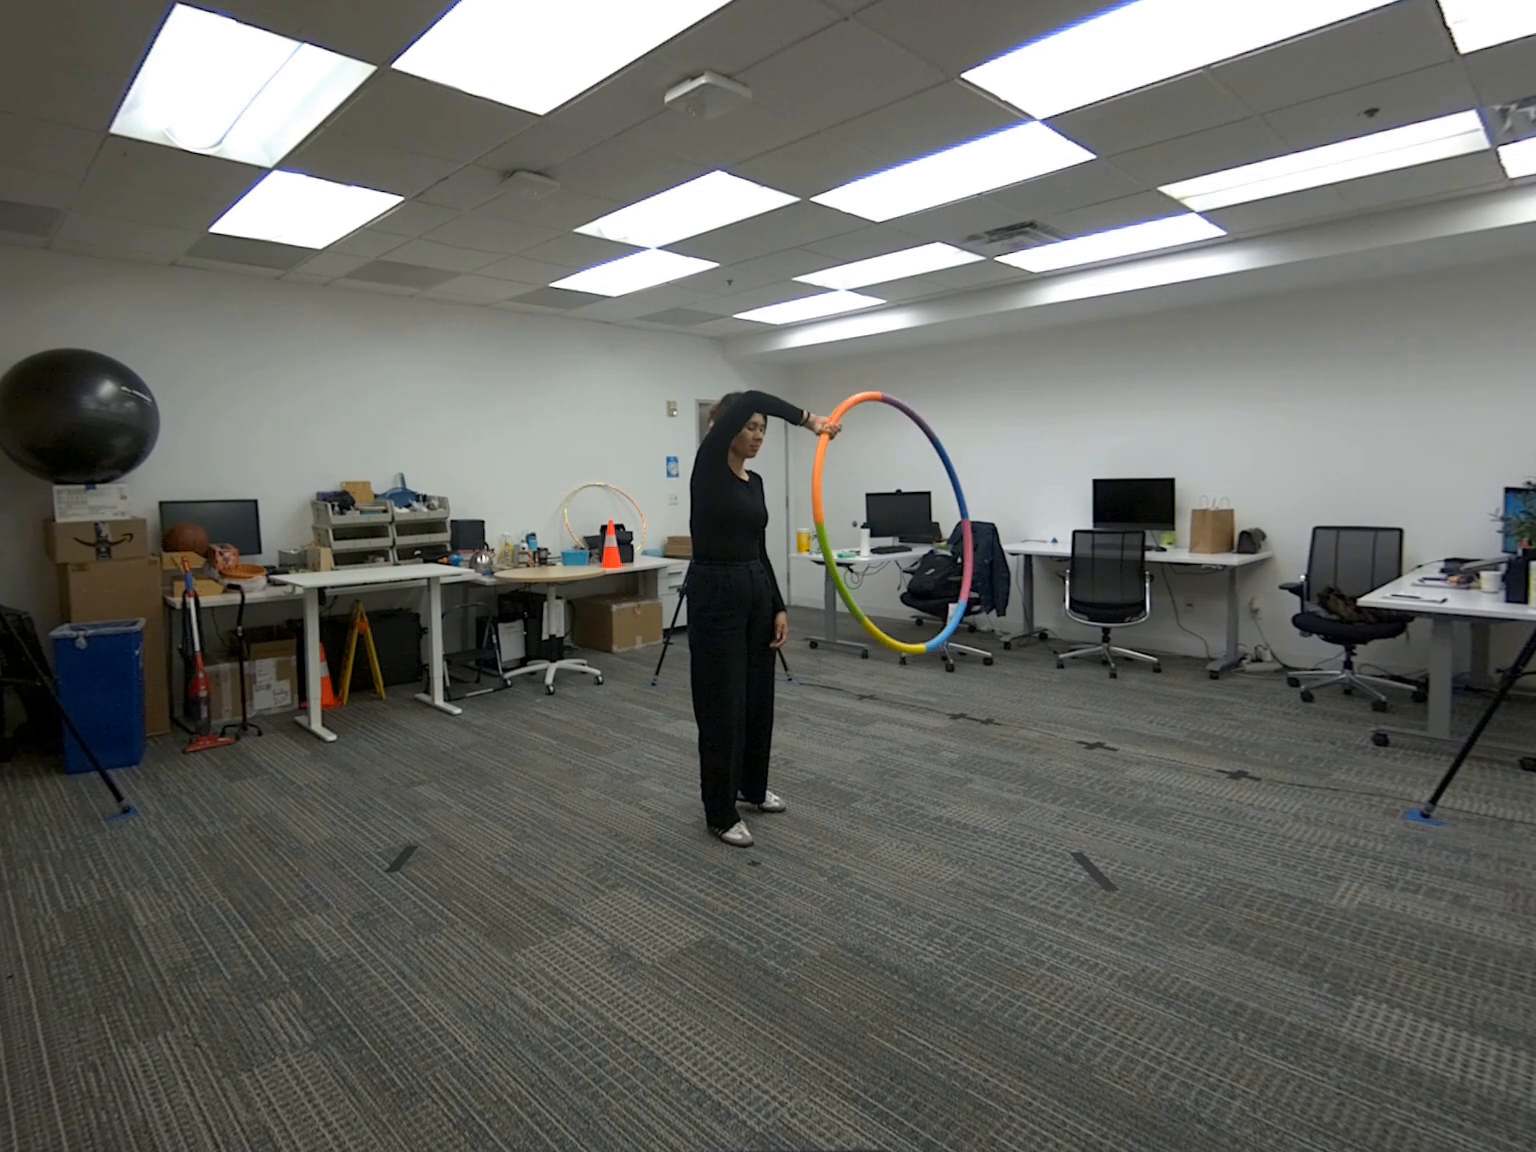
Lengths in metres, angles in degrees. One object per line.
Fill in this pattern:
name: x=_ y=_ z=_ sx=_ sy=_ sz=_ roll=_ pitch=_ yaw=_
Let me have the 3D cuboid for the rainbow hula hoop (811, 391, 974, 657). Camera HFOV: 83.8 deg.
rainbow hula hoop: x=0.487 y=-0.205 z=3.210 sx=0.053 sy=0.990 sz=0.959 roll=-14 pitch=-5 yaw=43
